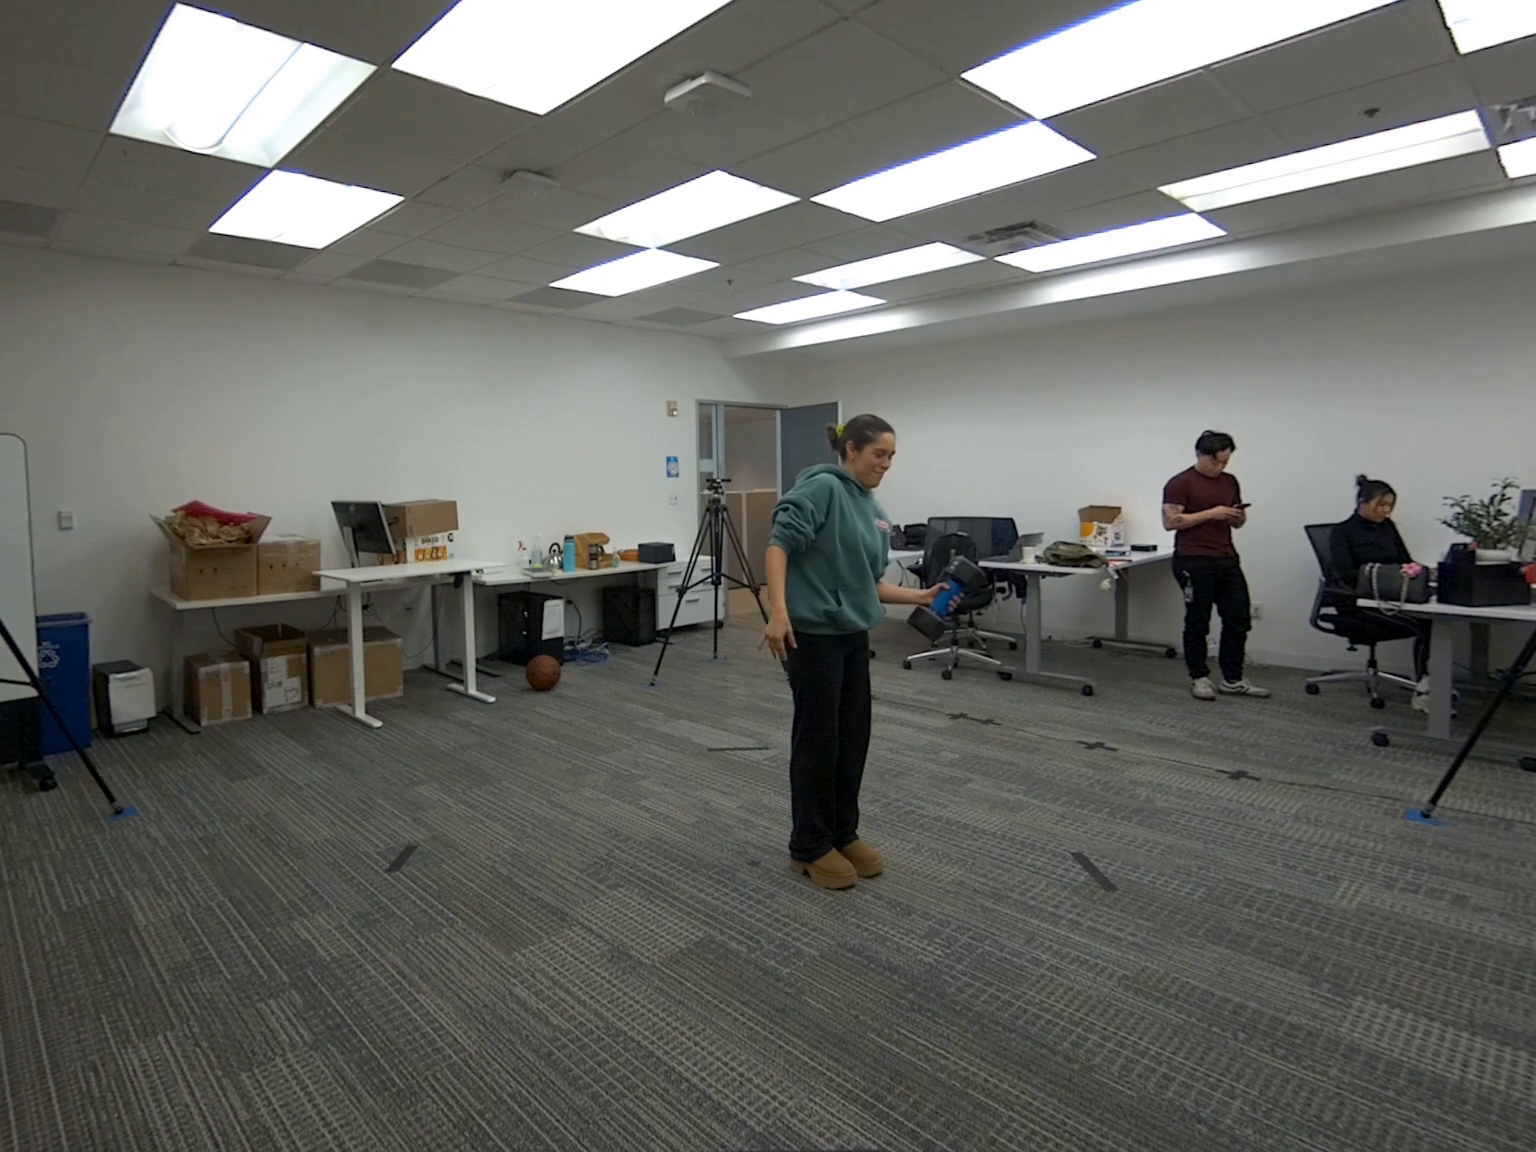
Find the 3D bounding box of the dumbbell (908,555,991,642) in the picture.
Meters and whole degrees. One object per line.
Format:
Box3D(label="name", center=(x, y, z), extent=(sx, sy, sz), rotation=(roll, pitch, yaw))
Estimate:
Box3D(label="dumbbell", center=(0.593, 0.084, 2.900), extent=(0.113, 0.293, 0.118), rotation=(35, -3, 39))
